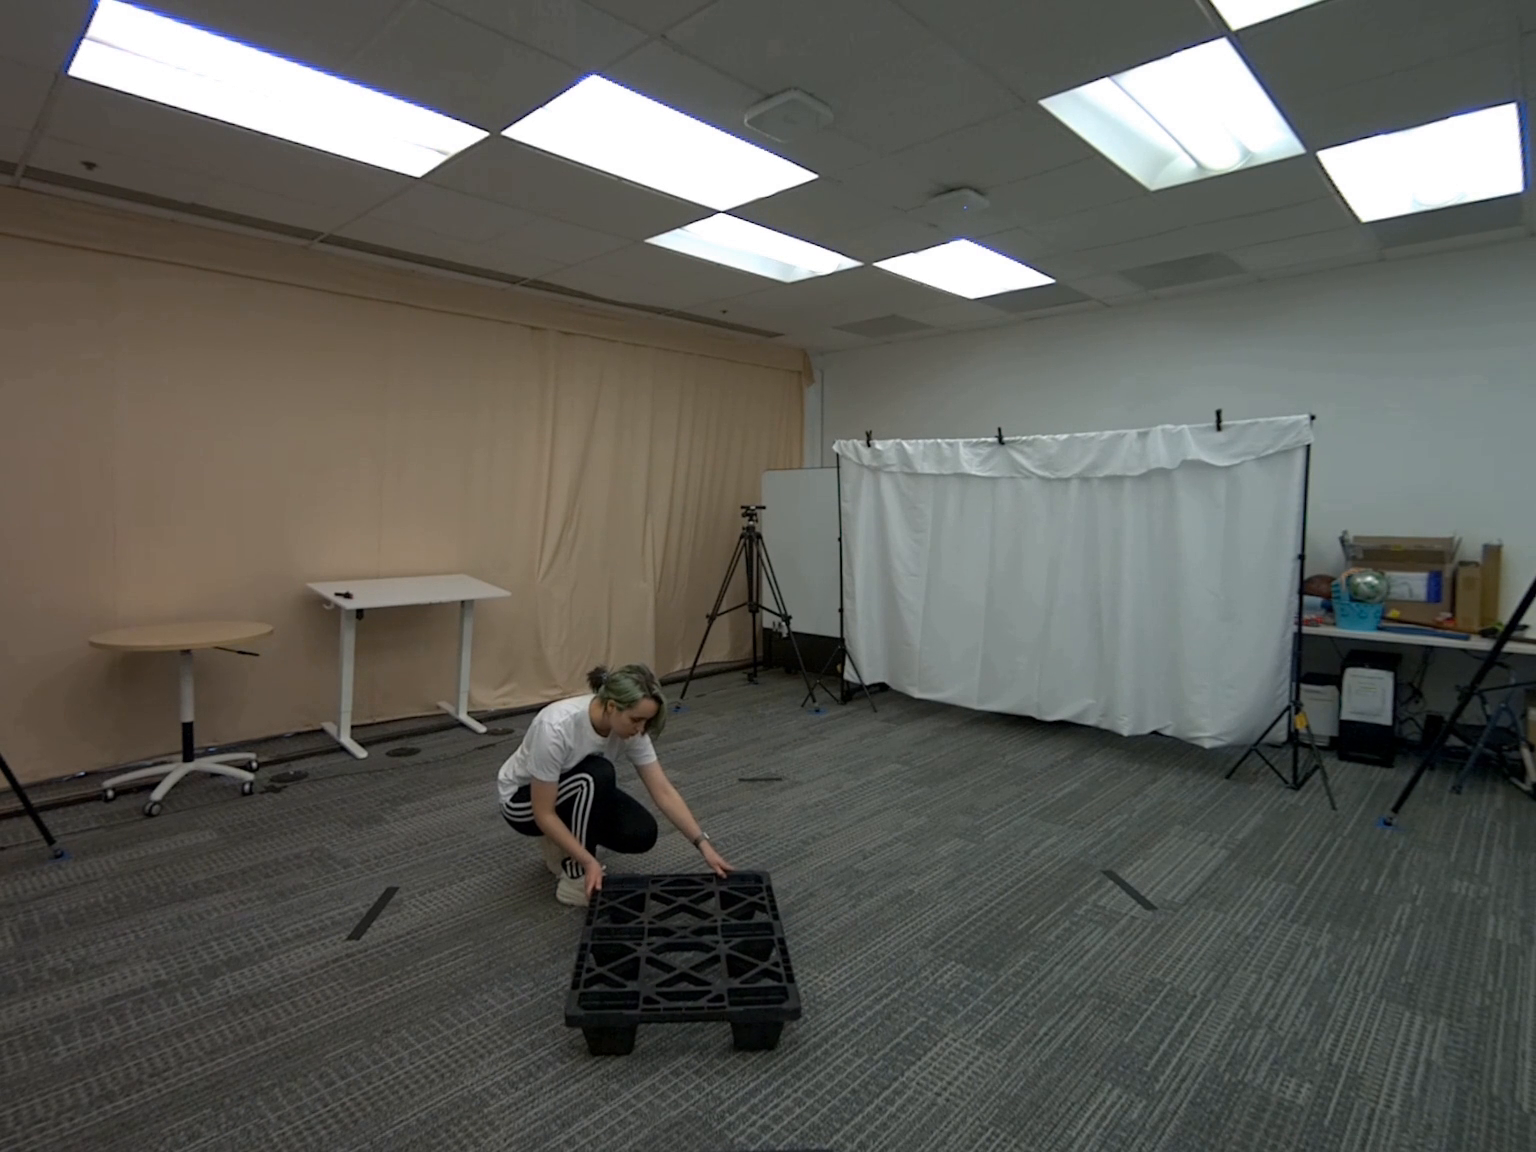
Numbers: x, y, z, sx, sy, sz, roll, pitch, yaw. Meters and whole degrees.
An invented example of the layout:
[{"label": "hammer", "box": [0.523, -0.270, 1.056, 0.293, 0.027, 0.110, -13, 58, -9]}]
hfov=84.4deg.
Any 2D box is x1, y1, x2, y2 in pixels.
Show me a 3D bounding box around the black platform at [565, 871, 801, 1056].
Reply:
[{"label": "black platform", "box": [-0.245, 1.118, 2.500, 0.602, 0.143, 0.811, 0, 5, -5]}]
